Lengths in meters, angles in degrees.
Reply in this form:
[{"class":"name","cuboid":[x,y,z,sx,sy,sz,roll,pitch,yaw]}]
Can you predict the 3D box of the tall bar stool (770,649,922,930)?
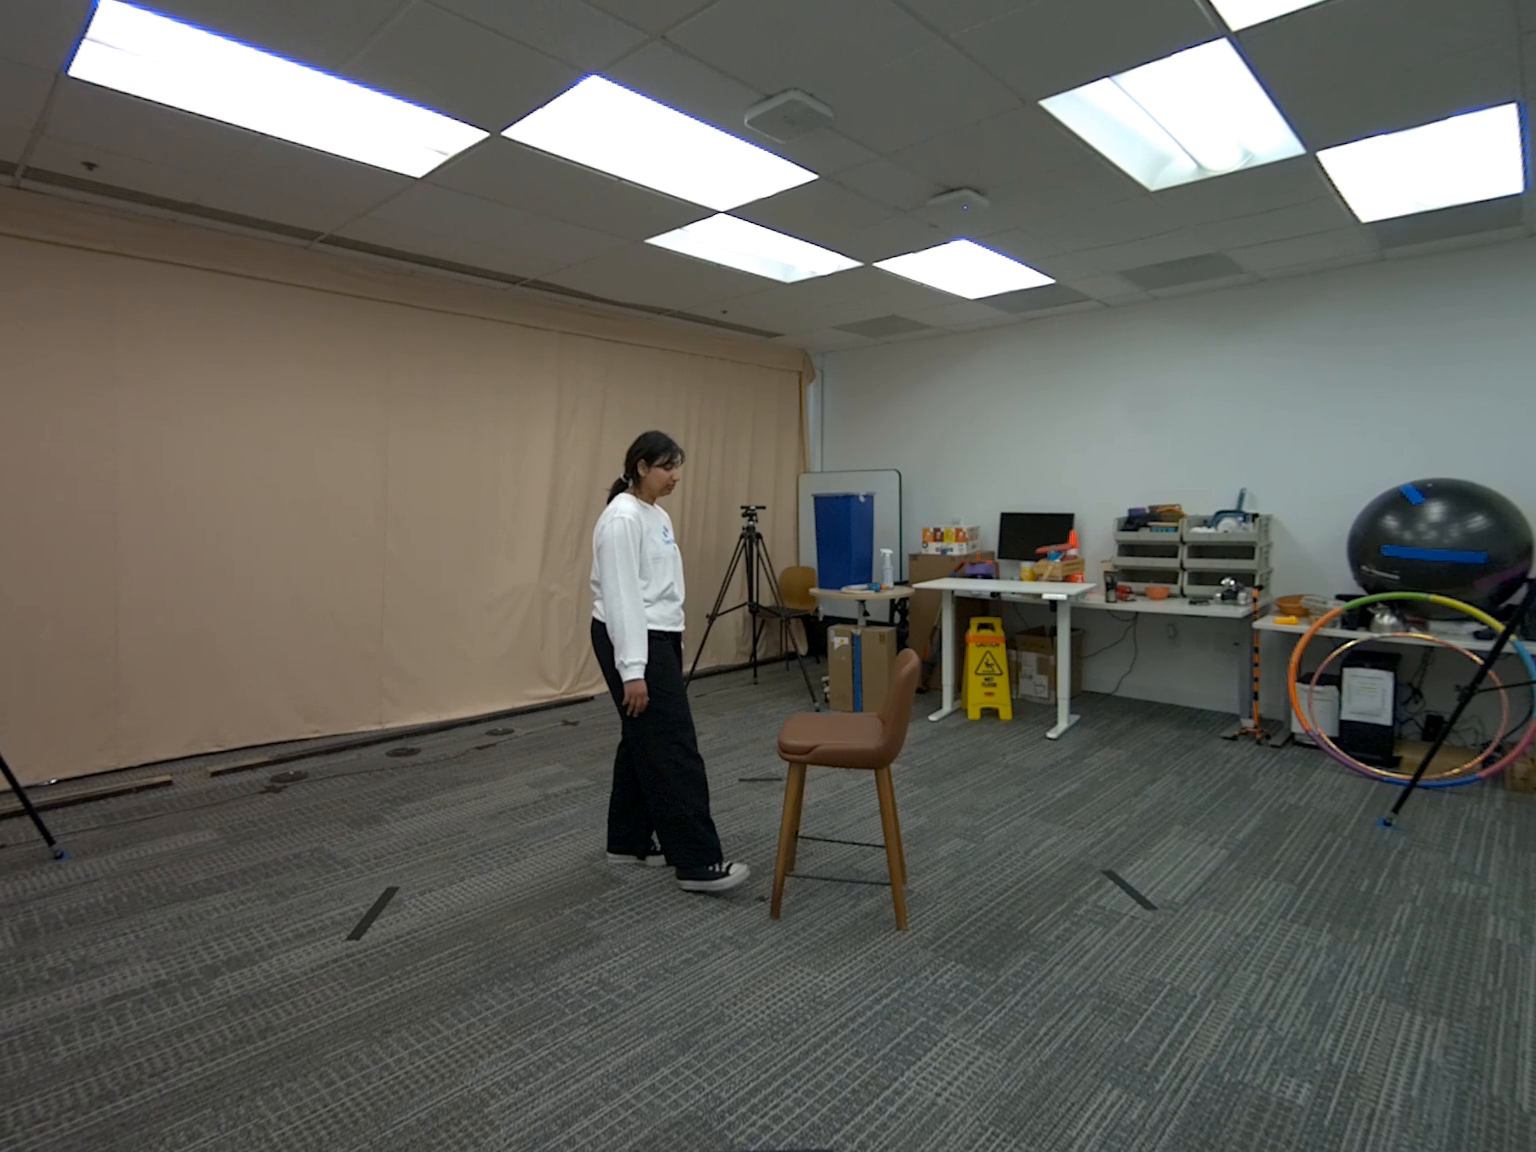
[{"class":"tall bar stool","cuboid":[0.271,0.711,2.958,0.474,0.888,0.451,2,4,12]}]
